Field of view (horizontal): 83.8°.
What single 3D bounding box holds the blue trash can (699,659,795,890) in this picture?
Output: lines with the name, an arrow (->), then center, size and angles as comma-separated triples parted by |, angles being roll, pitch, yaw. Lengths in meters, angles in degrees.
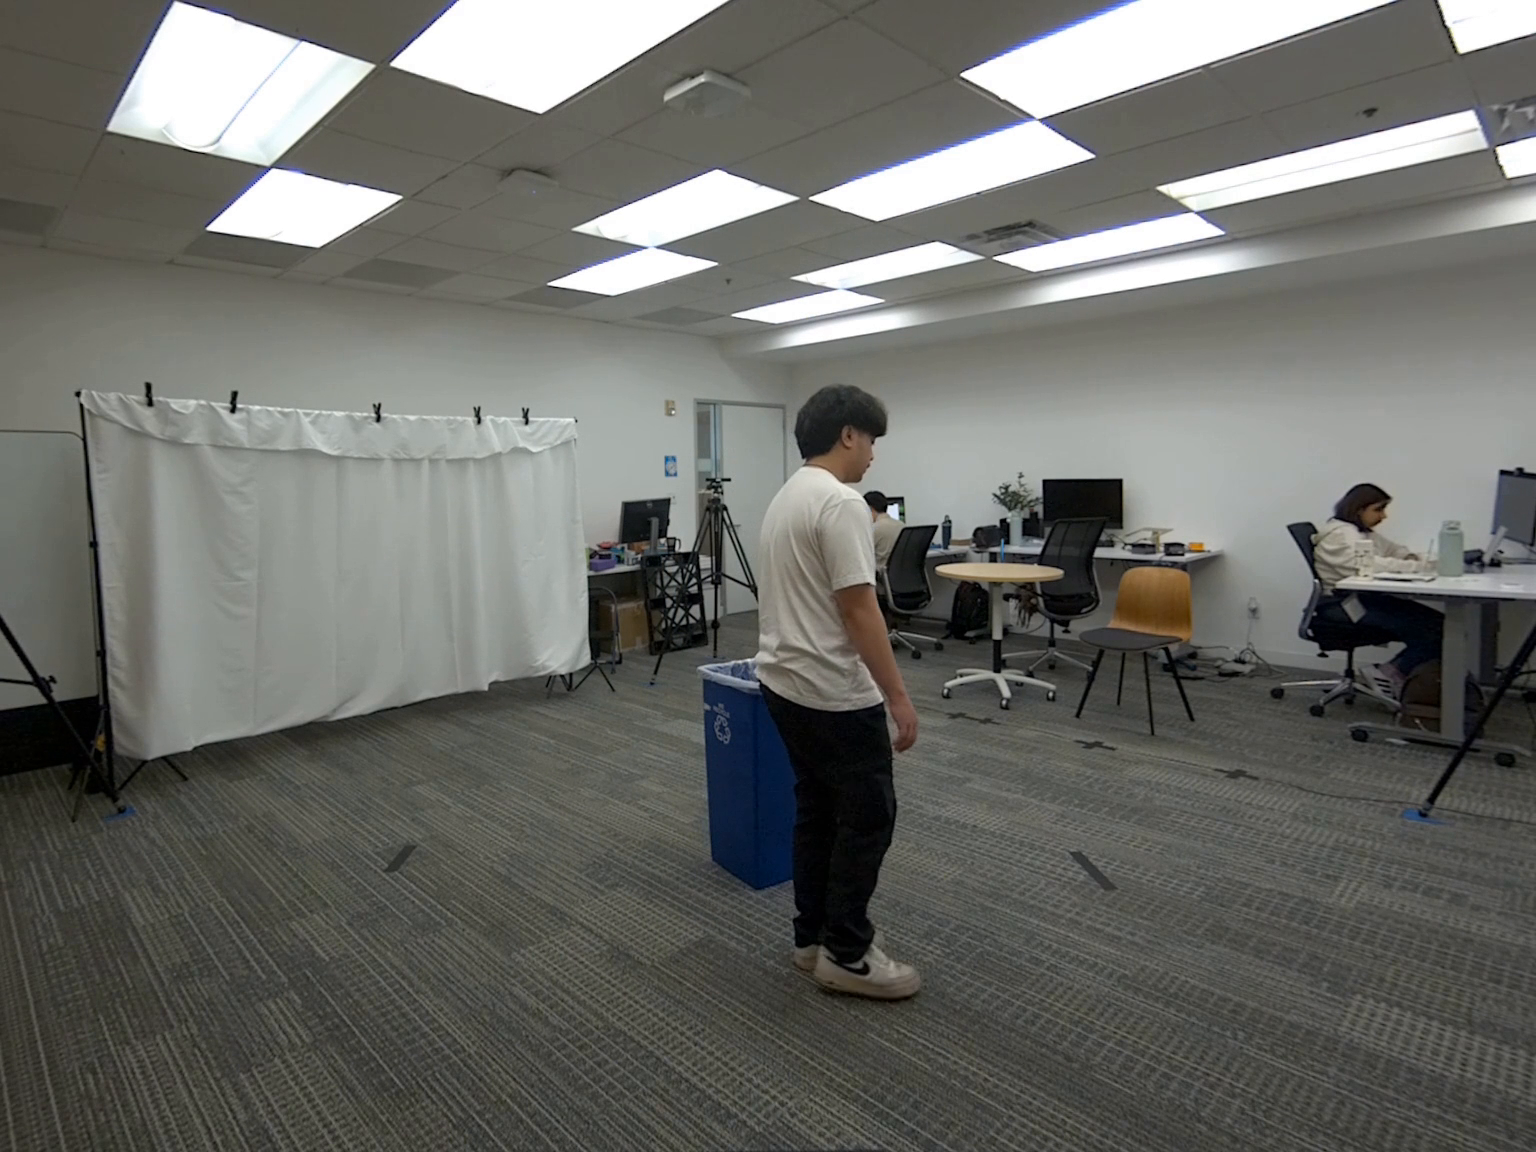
blue trash can -> 0.000, 0.686, 3.068 | 0.368, 0.711, 0.385 | -4, 5, -35
